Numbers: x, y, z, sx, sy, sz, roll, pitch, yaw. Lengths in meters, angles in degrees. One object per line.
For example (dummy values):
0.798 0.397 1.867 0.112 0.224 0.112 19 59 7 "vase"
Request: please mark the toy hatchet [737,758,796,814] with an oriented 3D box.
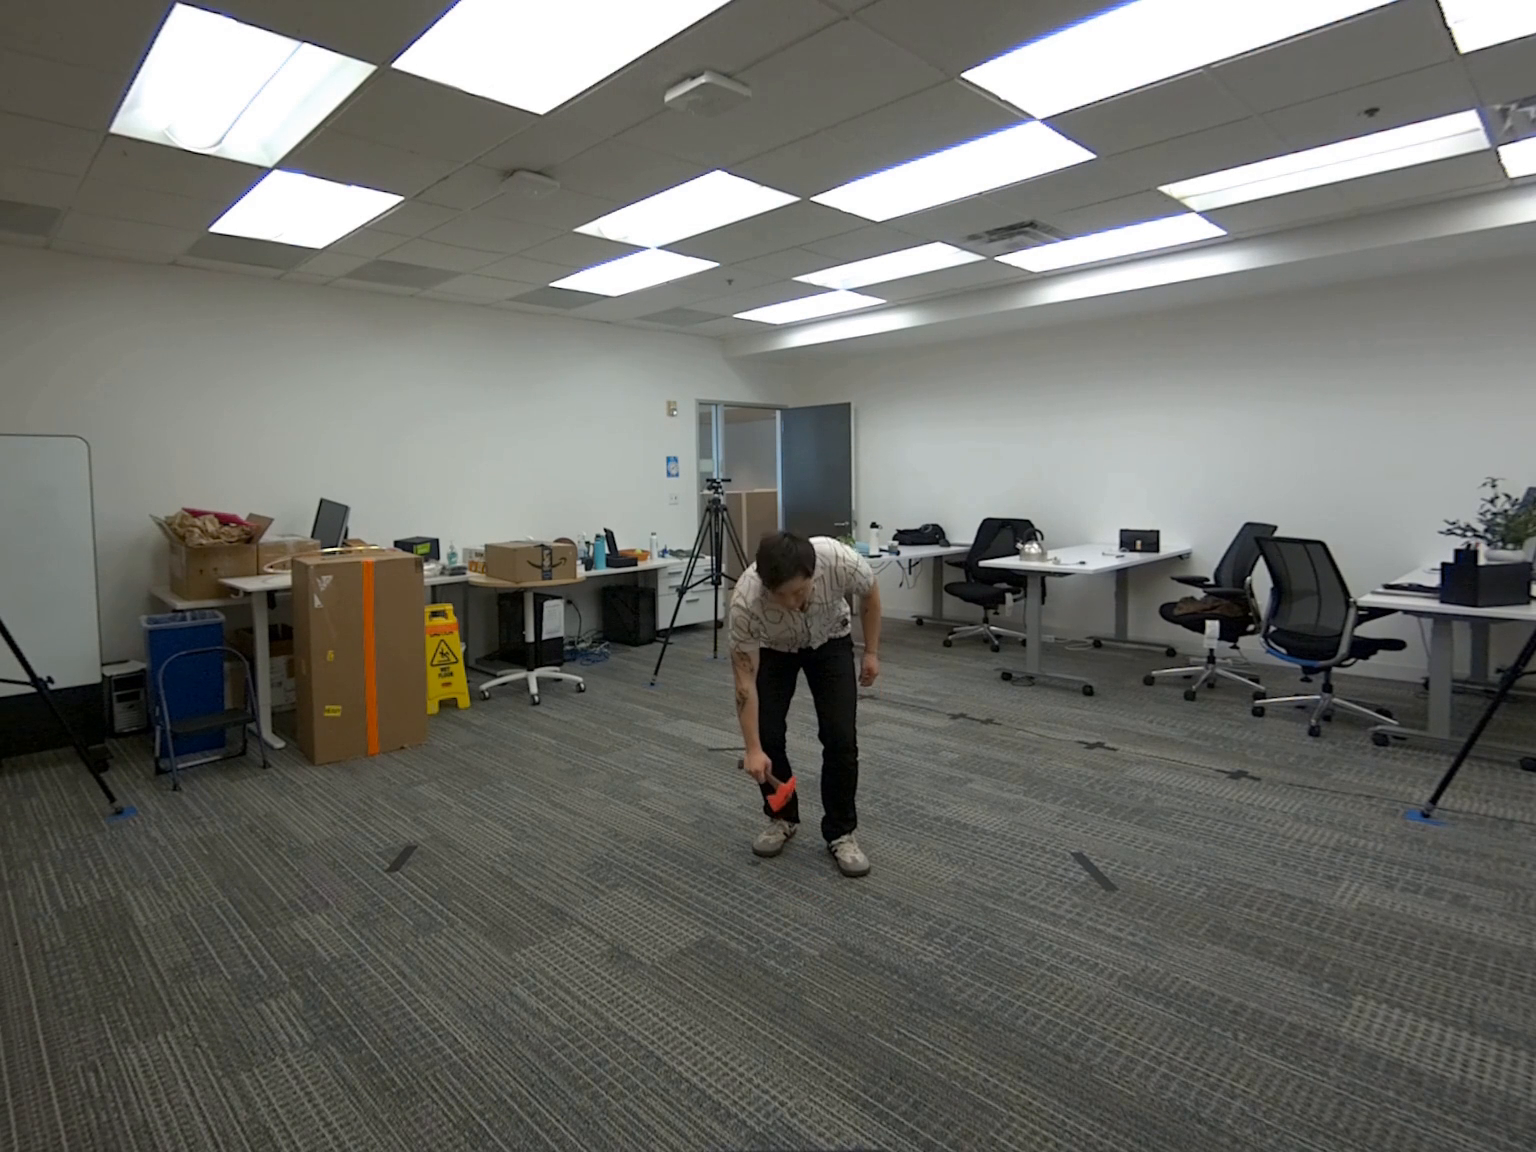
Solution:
-0.011 0.718 2.900 0.028 0.132 0.278 29 -16 -37 "toy hatchet"
